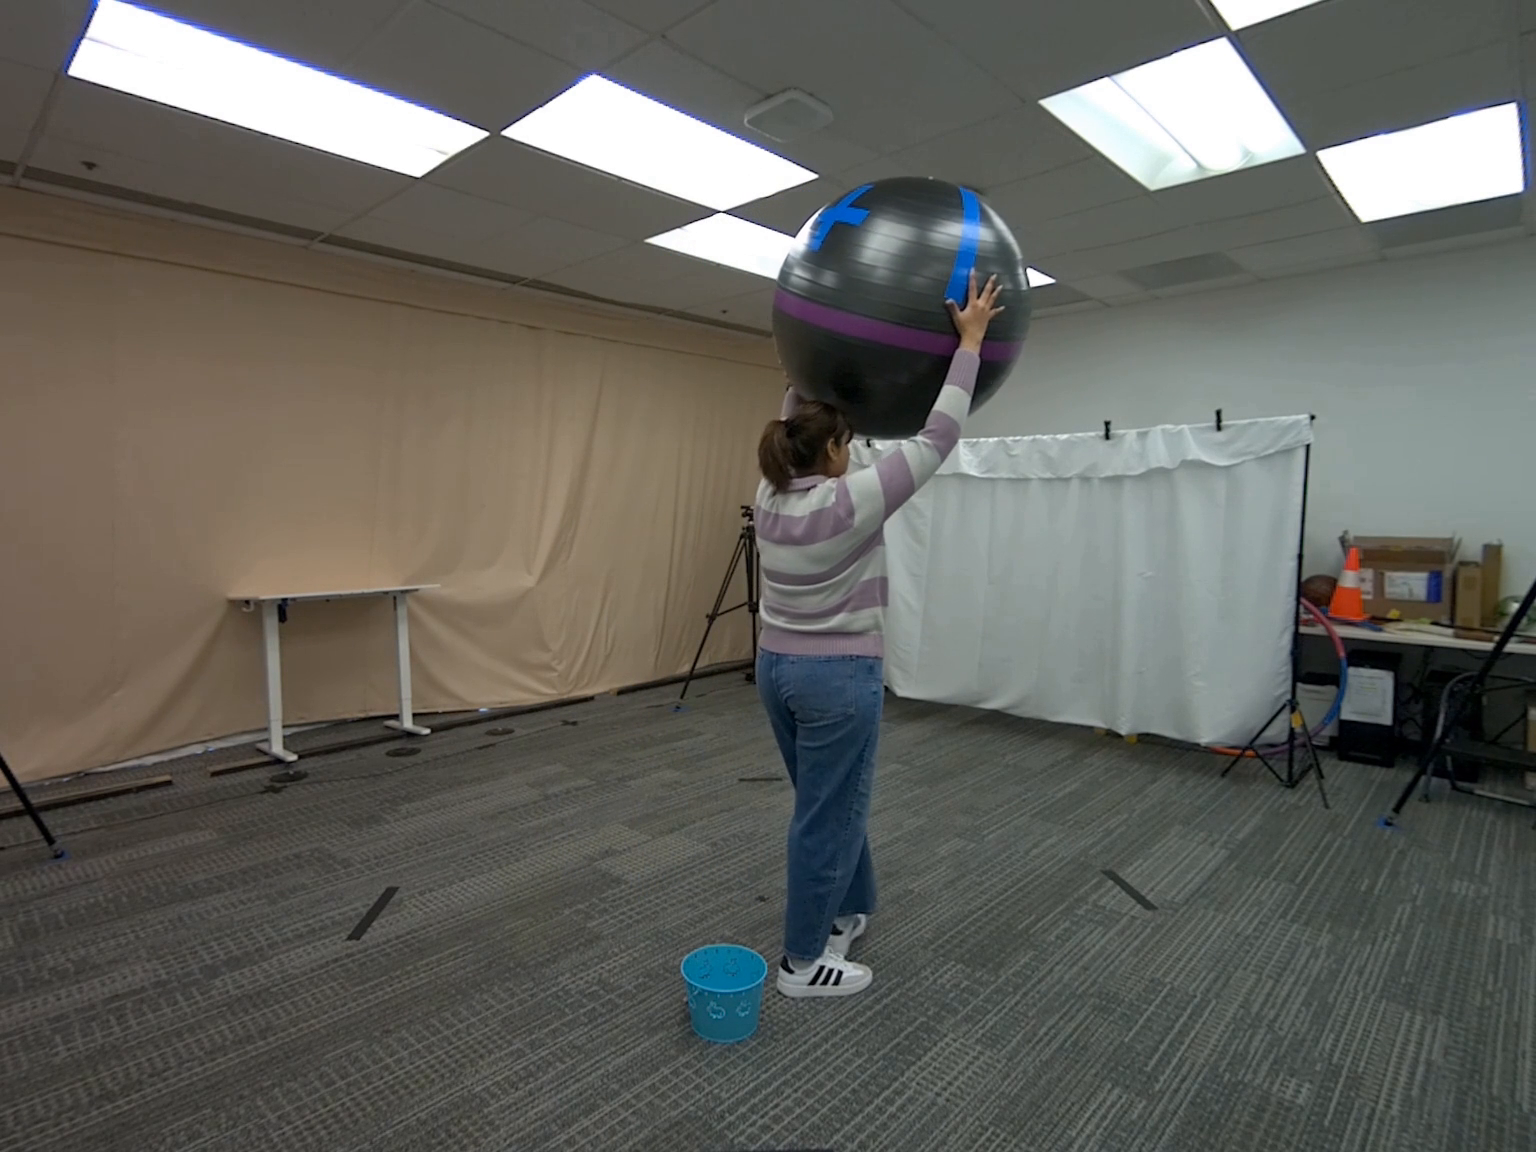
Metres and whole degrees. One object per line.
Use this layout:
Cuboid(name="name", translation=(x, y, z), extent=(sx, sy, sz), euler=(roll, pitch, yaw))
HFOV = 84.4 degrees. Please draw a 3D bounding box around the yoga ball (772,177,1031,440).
Cuboid(name="yoga ball", translation=(0.398, -0.792, 2.546), extent=(0.757, 0.756, 0.761), euler=(0, 4, -2))
